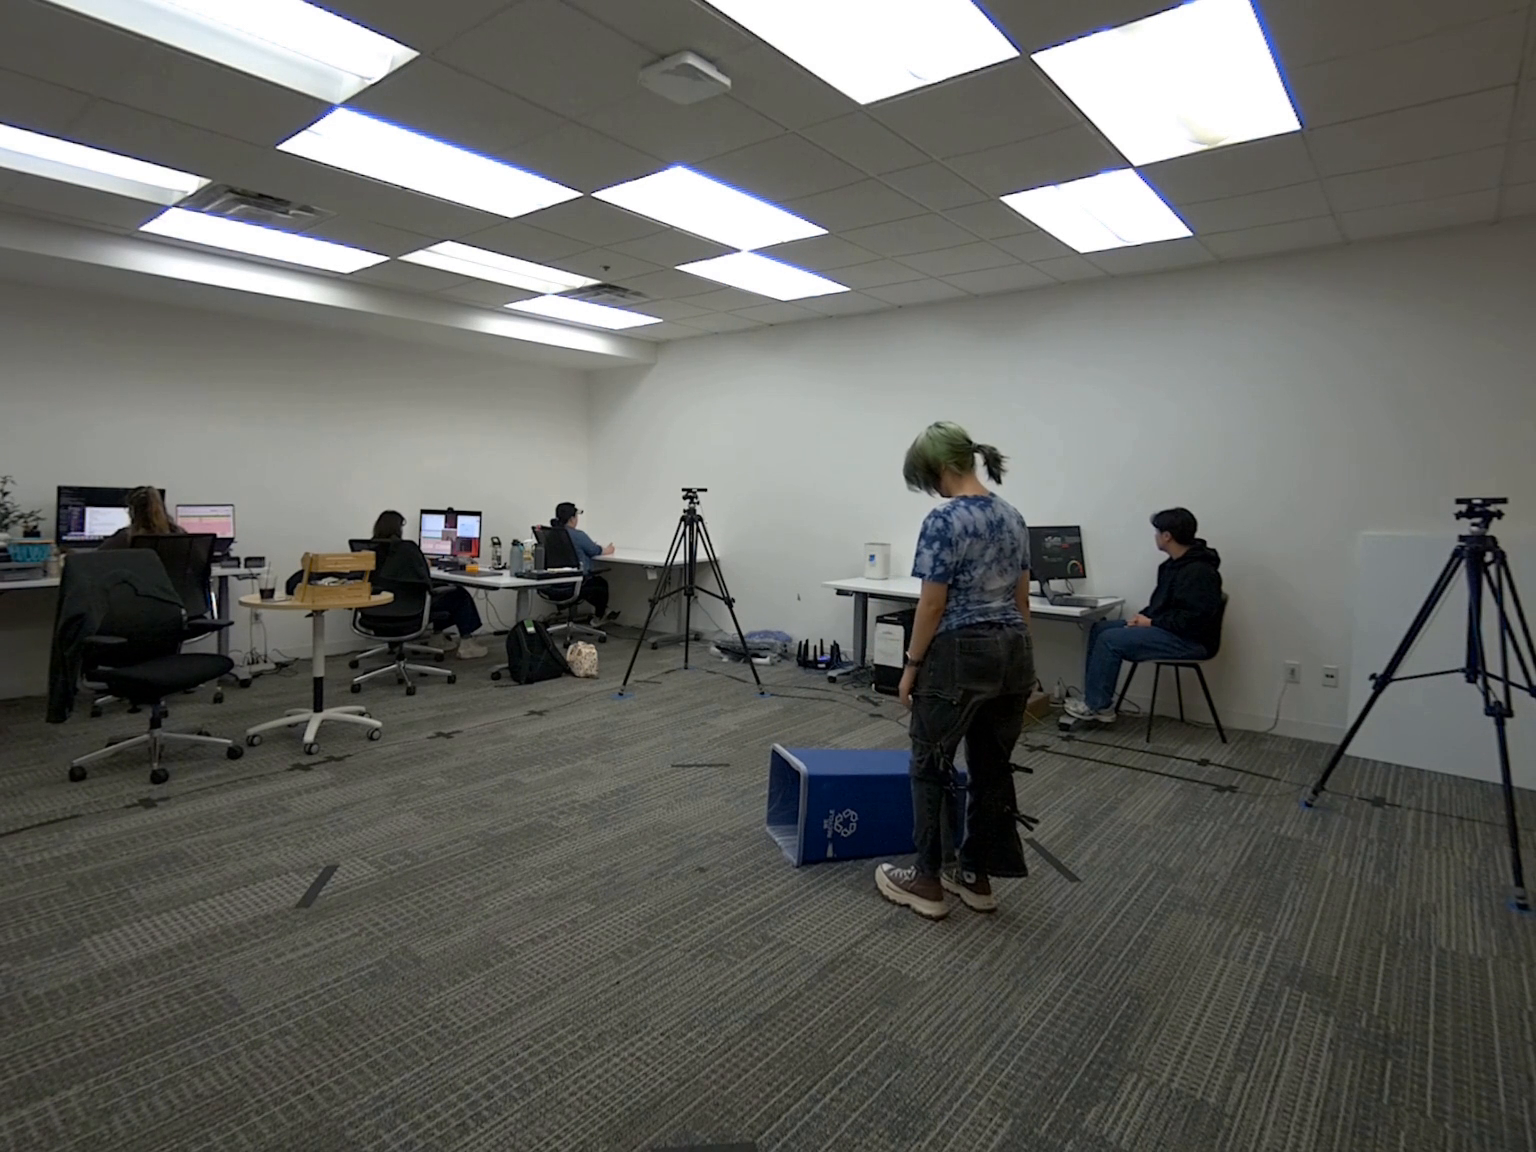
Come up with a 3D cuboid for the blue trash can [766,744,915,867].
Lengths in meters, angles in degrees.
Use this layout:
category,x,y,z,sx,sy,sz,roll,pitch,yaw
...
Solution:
category,x,y,z,sx,sy,sz,roll,pitch,yaw
blue trash can,0.380,0.878,3.389,0.701,0.373,0.386,2,4,-17
